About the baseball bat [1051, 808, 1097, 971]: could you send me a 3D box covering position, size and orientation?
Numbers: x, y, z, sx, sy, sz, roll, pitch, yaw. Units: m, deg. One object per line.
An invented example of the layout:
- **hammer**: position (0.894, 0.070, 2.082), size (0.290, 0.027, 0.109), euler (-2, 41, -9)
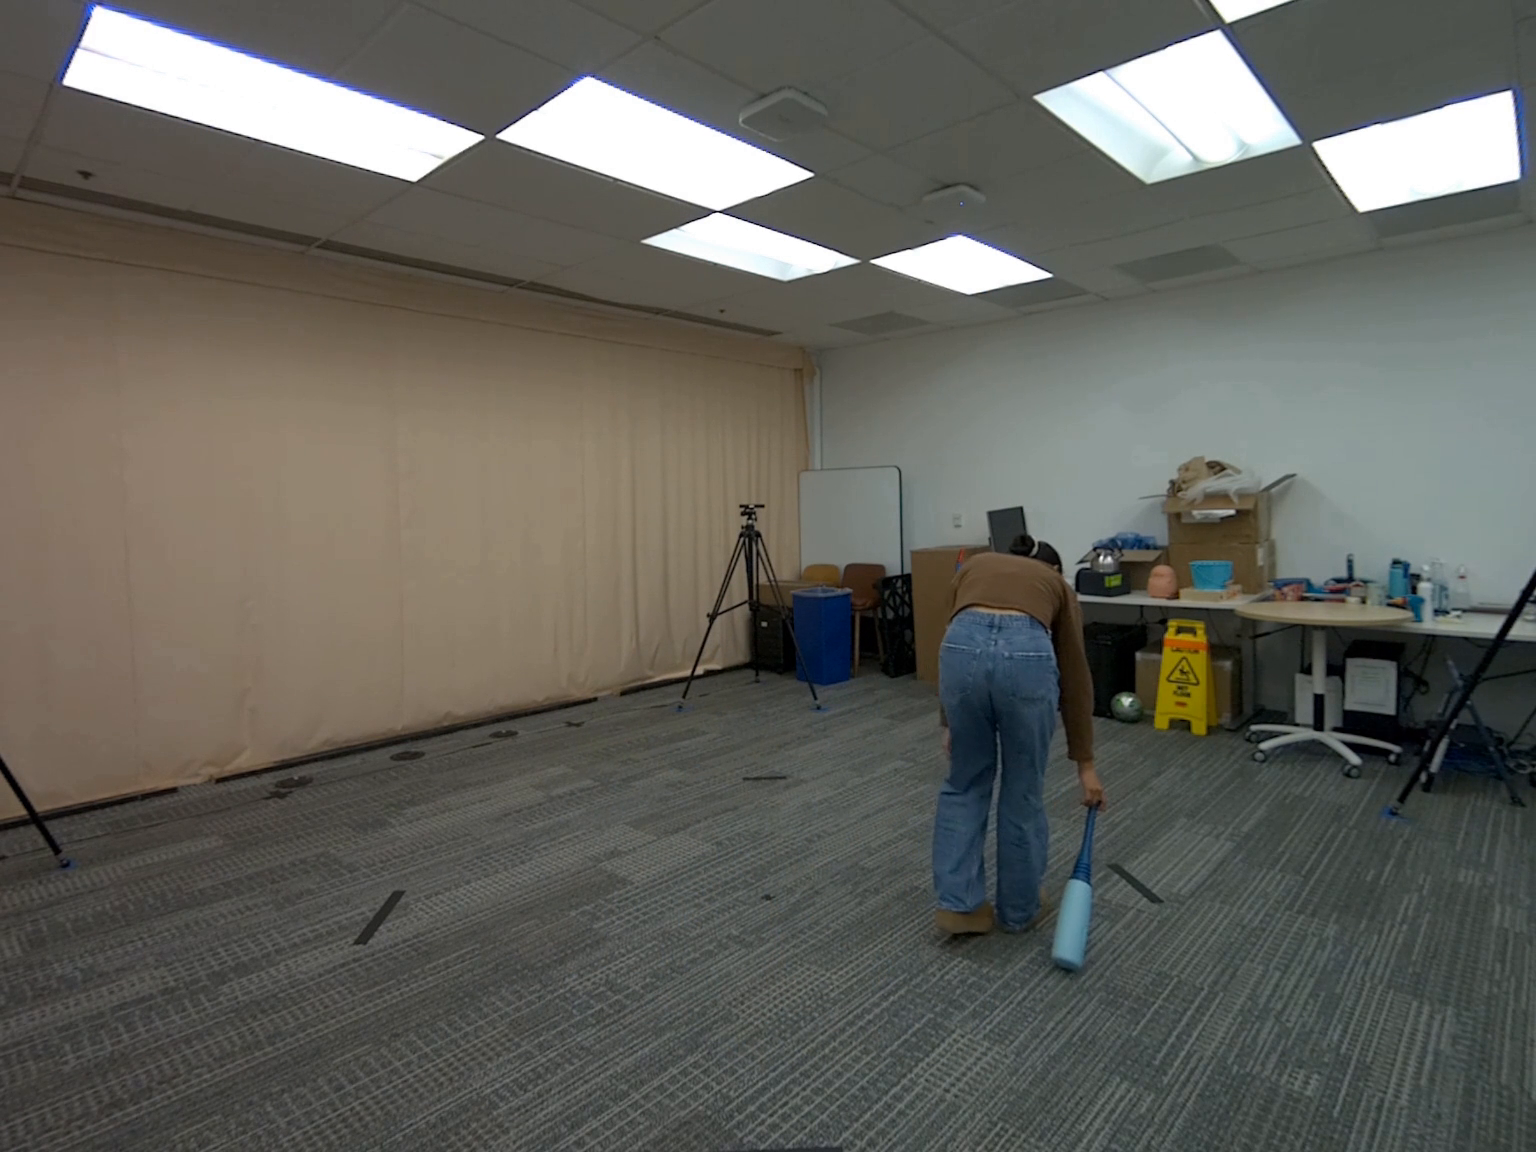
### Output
- **baseball bat**: position (0.987, 0.948, 2.606), size (0.092, 0.086, 0.543), euler (1, 48, 36)
